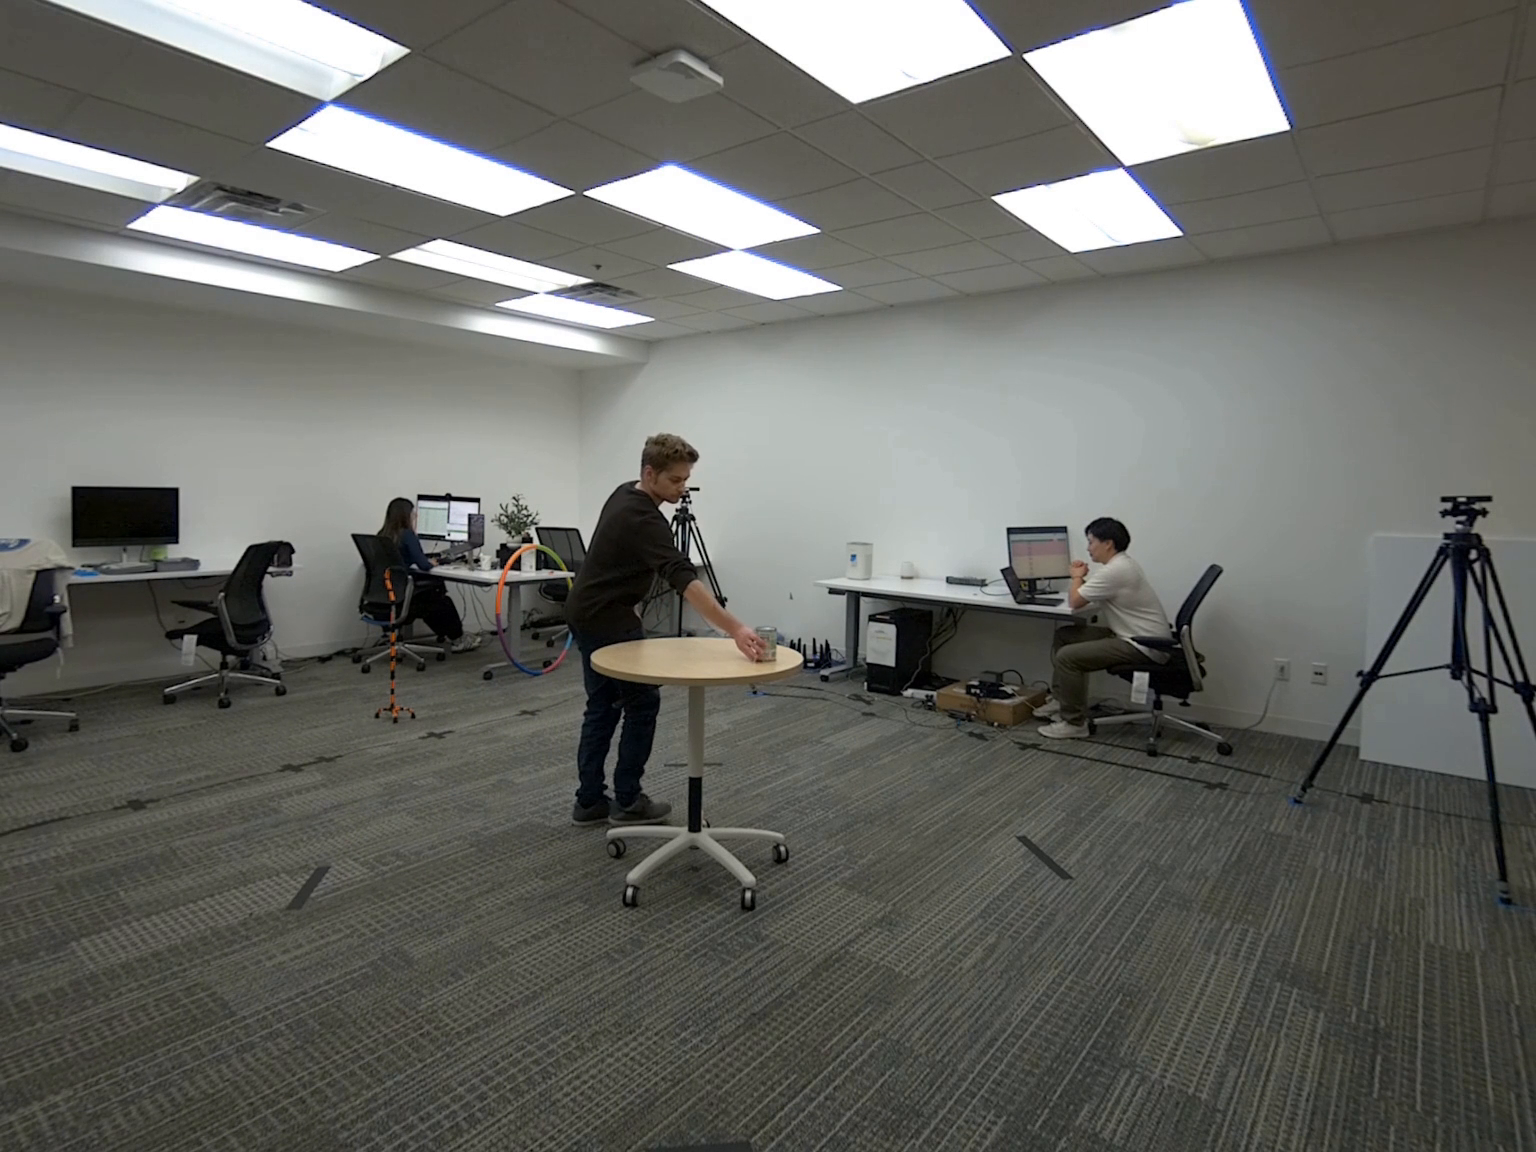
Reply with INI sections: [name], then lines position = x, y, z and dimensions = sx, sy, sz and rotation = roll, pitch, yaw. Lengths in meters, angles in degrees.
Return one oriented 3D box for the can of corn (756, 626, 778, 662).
[can of corn]
position = -0.016, 0.240, 2.999
dimensions = 0.074, 0.110, 0.075
rotation = 1, 6, -2
